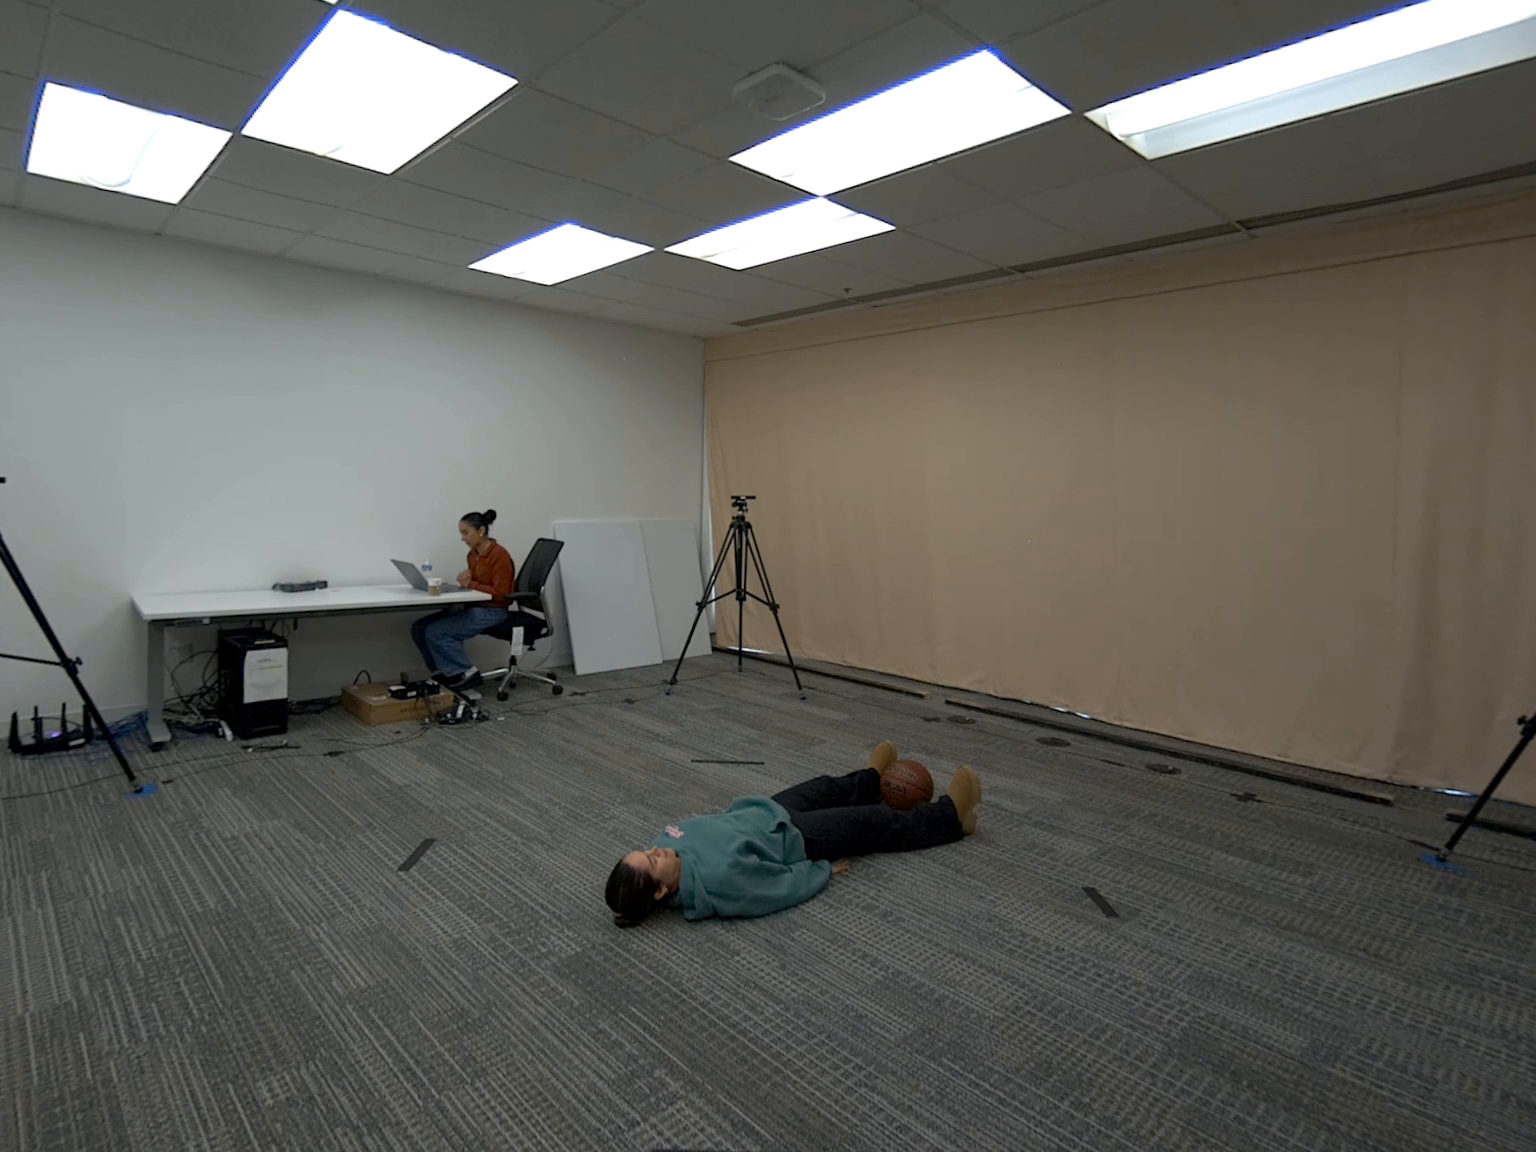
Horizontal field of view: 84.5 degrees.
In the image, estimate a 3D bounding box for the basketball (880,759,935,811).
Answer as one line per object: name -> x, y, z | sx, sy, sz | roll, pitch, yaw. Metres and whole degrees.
basketball -> 0.608, 0.946, 3.775 | 0.236, 0.235, 0.237 | 1, 5, -1
